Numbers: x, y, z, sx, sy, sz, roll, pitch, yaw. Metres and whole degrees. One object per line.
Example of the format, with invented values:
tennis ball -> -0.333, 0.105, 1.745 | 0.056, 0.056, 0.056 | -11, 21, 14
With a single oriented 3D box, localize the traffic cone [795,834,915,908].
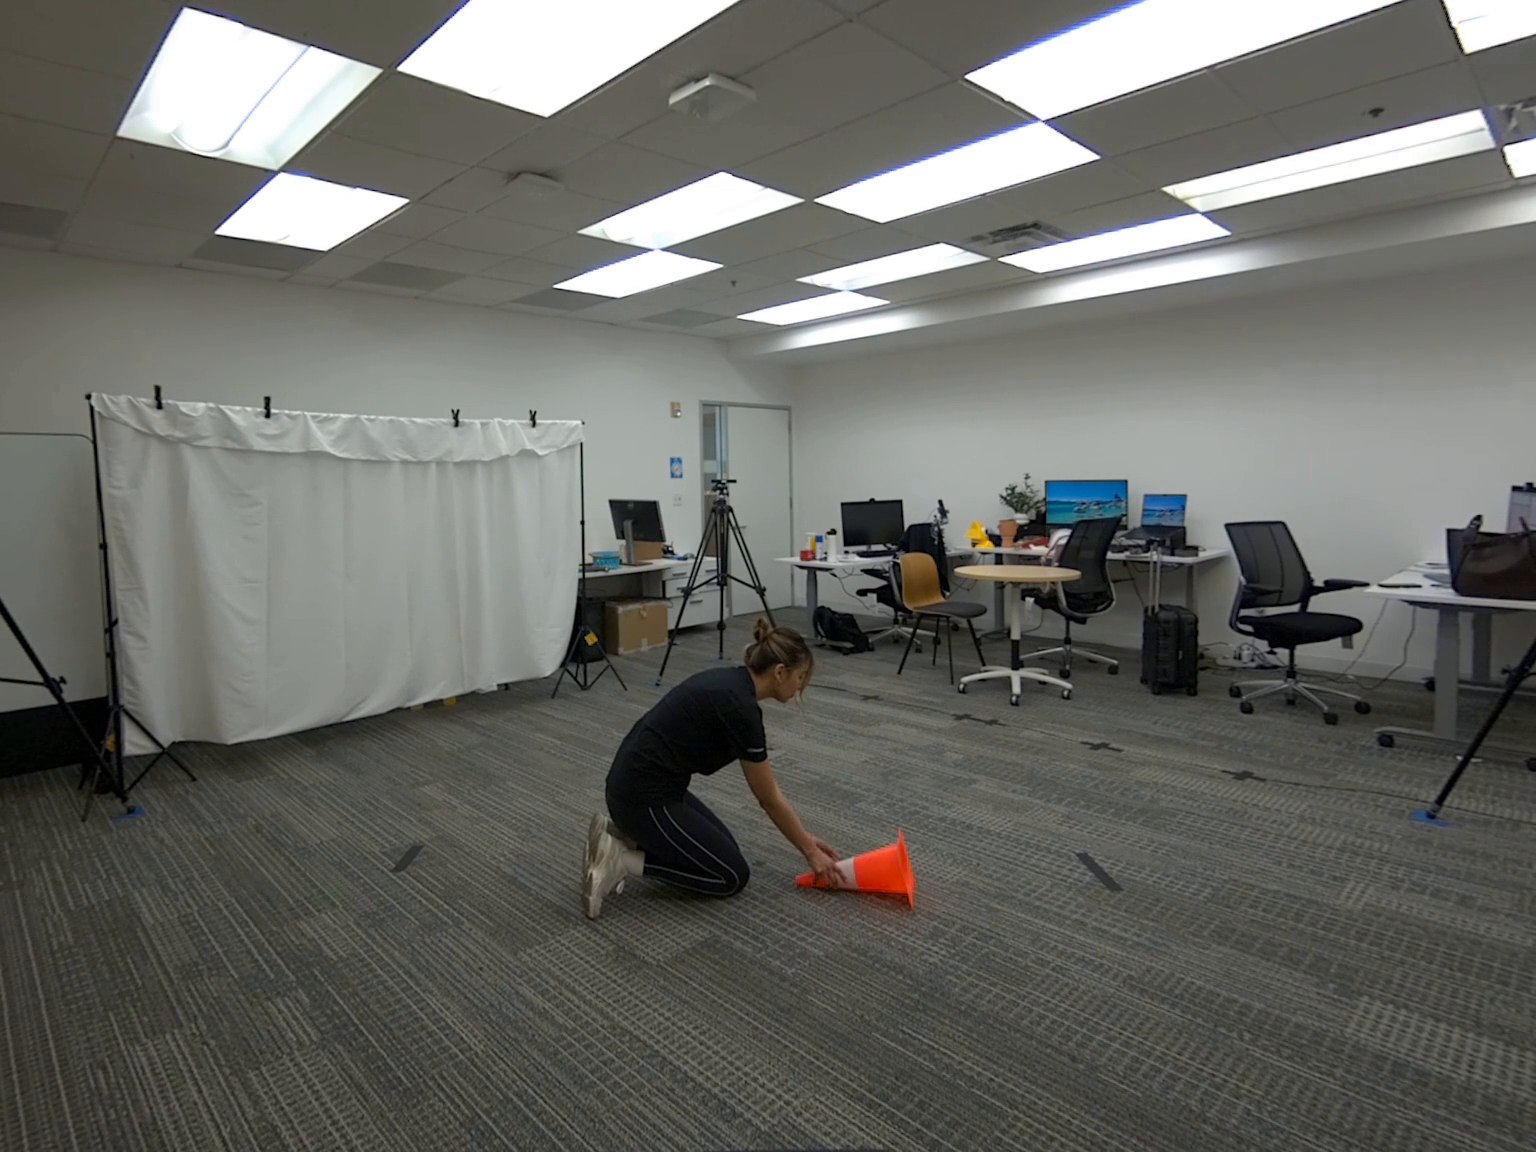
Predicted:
traffic cone -> 0.278, 1.010, 2.885 | 0.388, 0.205, 0.201 | -13, 1, 15
